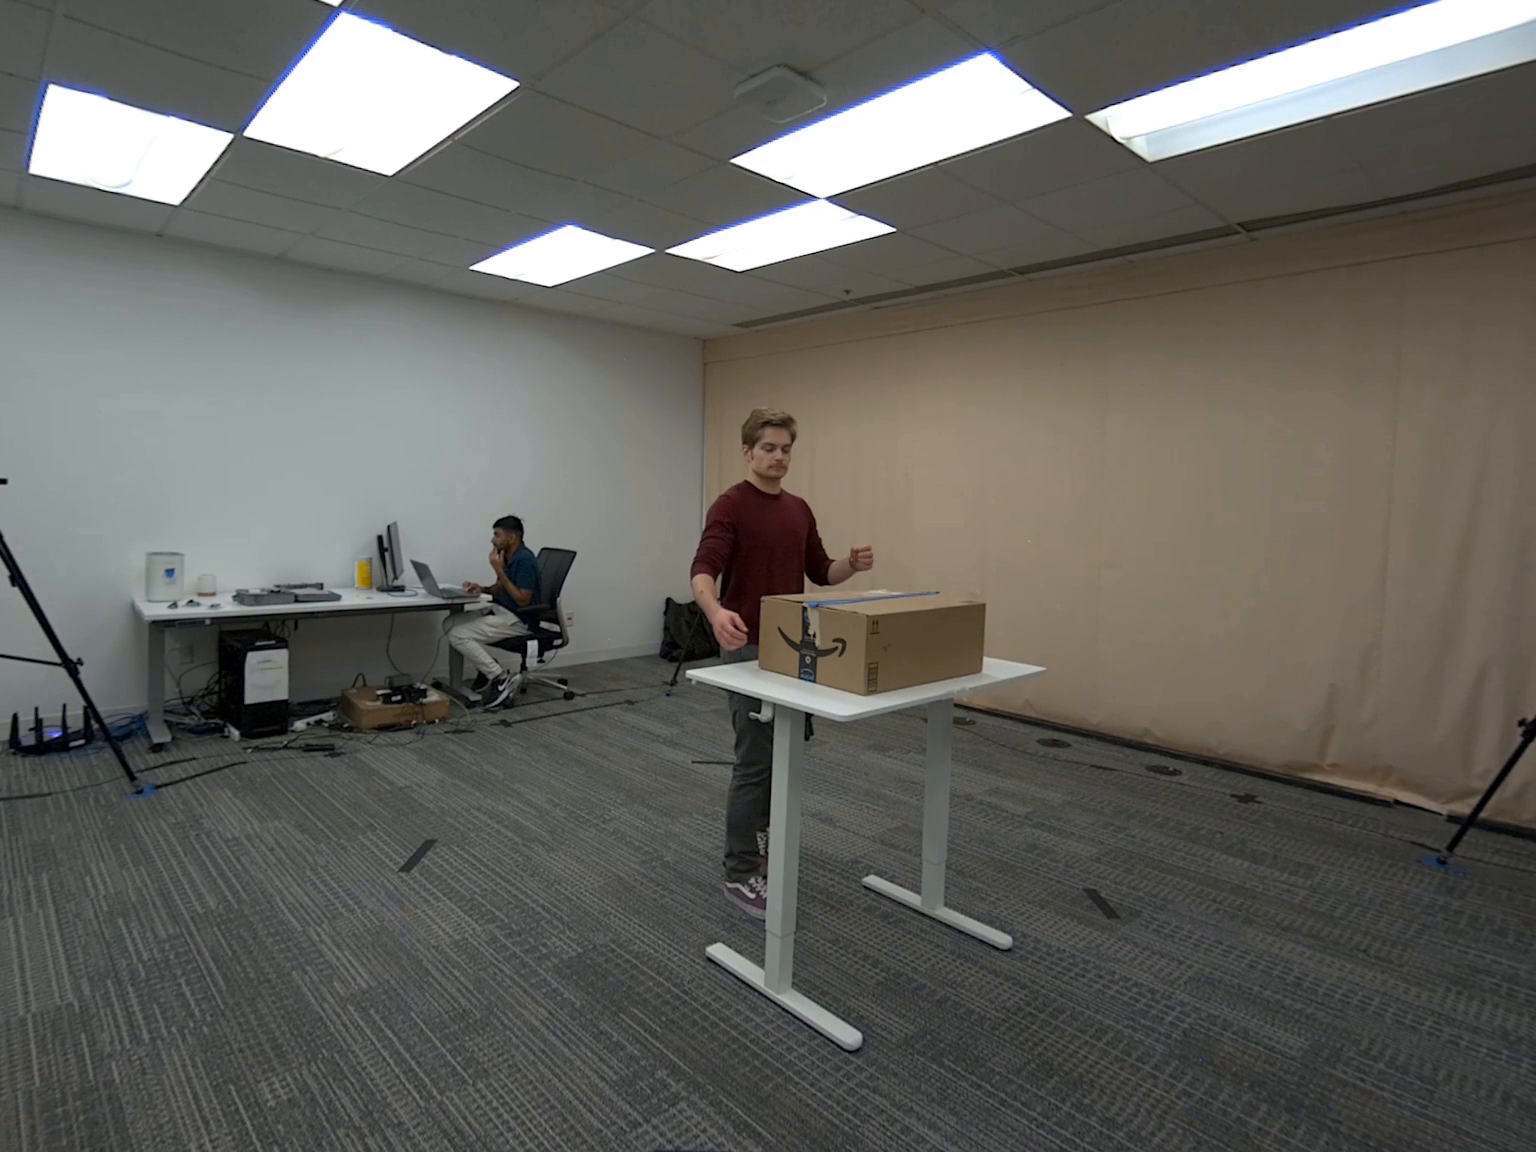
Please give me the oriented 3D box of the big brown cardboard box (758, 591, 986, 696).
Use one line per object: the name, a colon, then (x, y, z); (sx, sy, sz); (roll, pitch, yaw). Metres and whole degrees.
big brown cardboard box: (0.319, 0.179, 2.536); (0.576, 0.232, 0.428); (-3, 7, -43)
